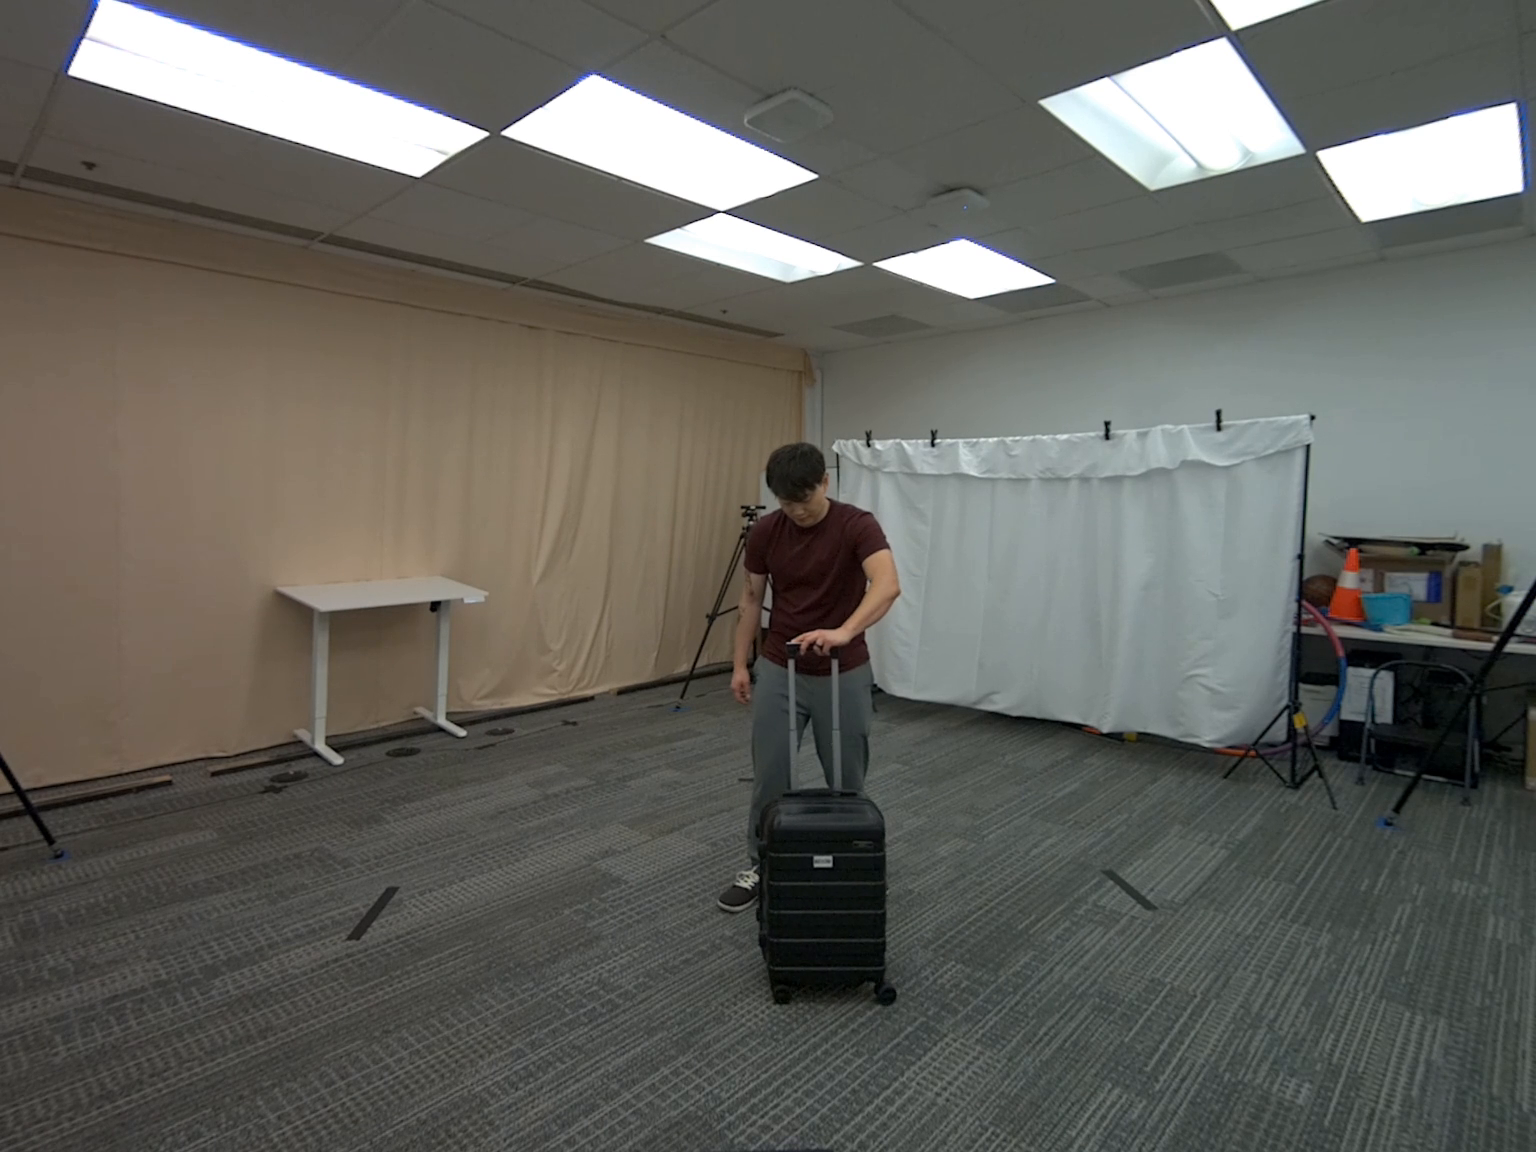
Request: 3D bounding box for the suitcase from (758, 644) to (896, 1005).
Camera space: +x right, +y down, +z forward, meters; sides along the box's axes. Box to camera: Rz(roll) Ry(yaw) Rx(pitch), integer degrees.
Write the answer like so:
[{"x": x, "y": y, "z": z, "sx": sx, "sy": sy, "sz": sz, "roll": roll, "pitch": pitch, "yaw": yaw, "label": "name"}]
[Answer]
[{"x": 0.157, "y": 0.707, "z": 2.448, "sx": 0.383, "sy": 0.976, "sz": 0.258, "roll": -1, "pitch": 4, "yaw": -2, "label": "suitcase"}]
